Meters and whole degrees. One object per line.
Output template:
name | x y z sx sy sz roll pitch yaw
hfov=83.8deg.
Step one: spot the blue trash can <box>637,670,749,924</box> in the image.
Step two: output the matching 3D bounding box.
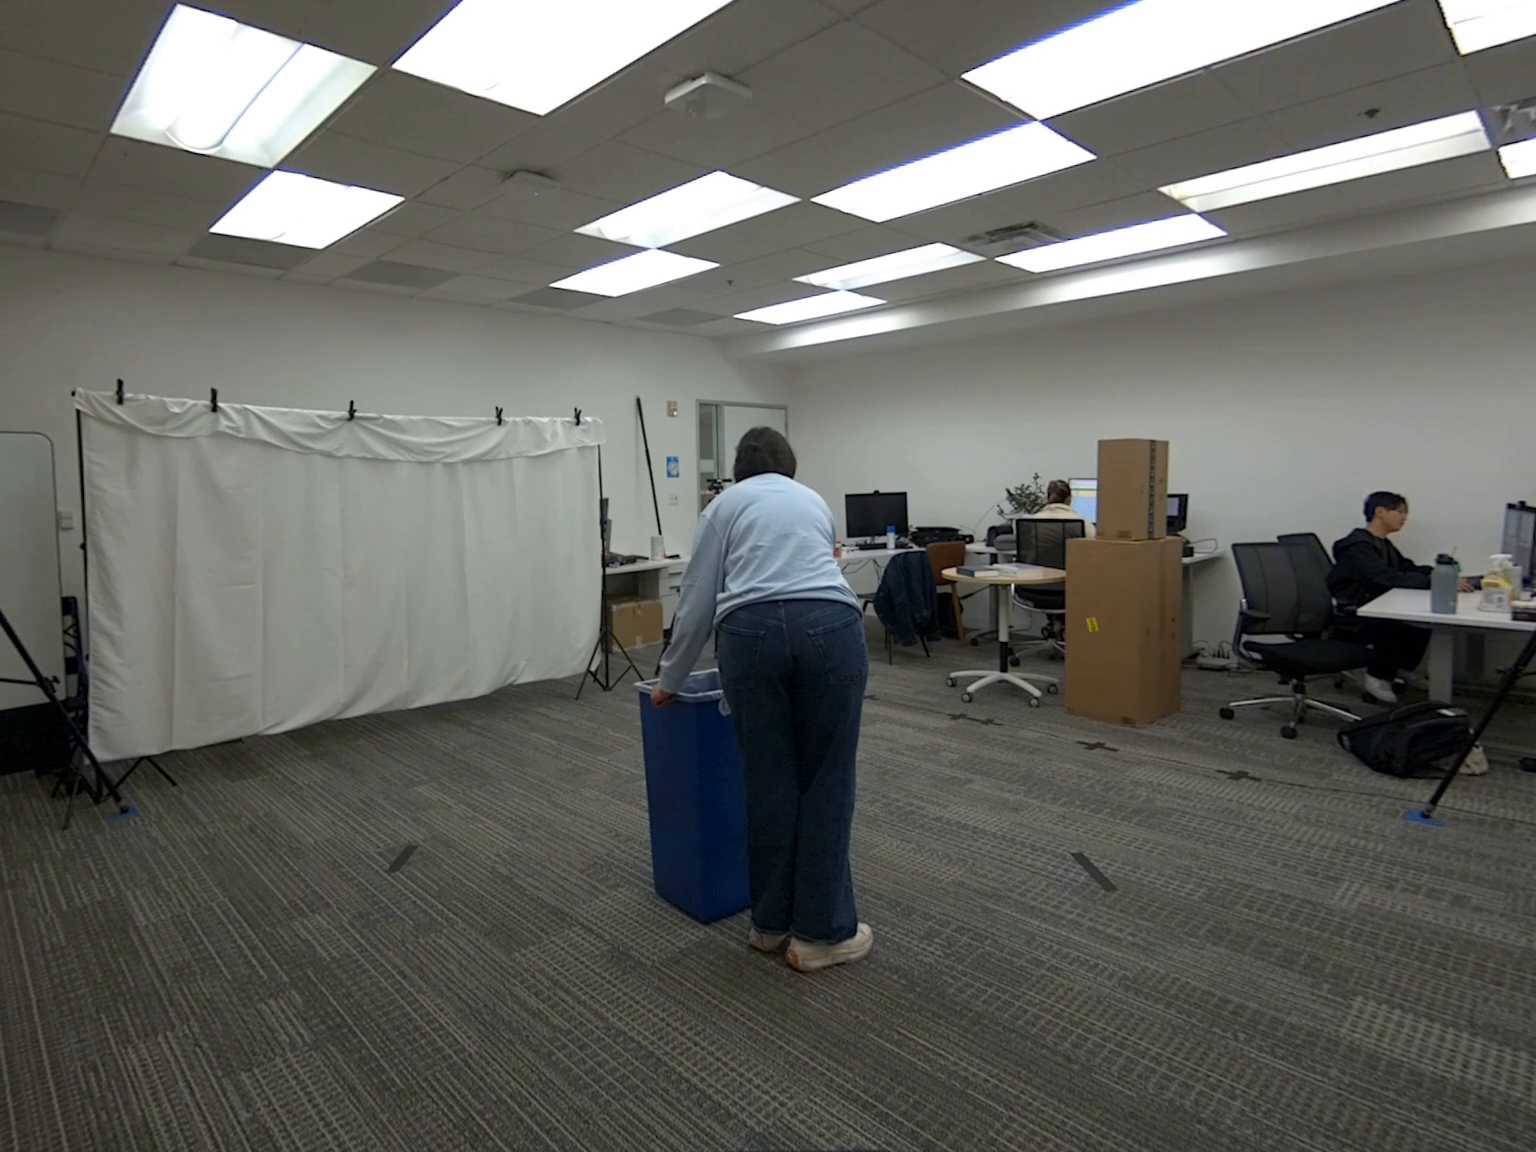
blue trash can | -0.198 0.711 2.878 0.368 0.713 0.384 -2 2 -38
